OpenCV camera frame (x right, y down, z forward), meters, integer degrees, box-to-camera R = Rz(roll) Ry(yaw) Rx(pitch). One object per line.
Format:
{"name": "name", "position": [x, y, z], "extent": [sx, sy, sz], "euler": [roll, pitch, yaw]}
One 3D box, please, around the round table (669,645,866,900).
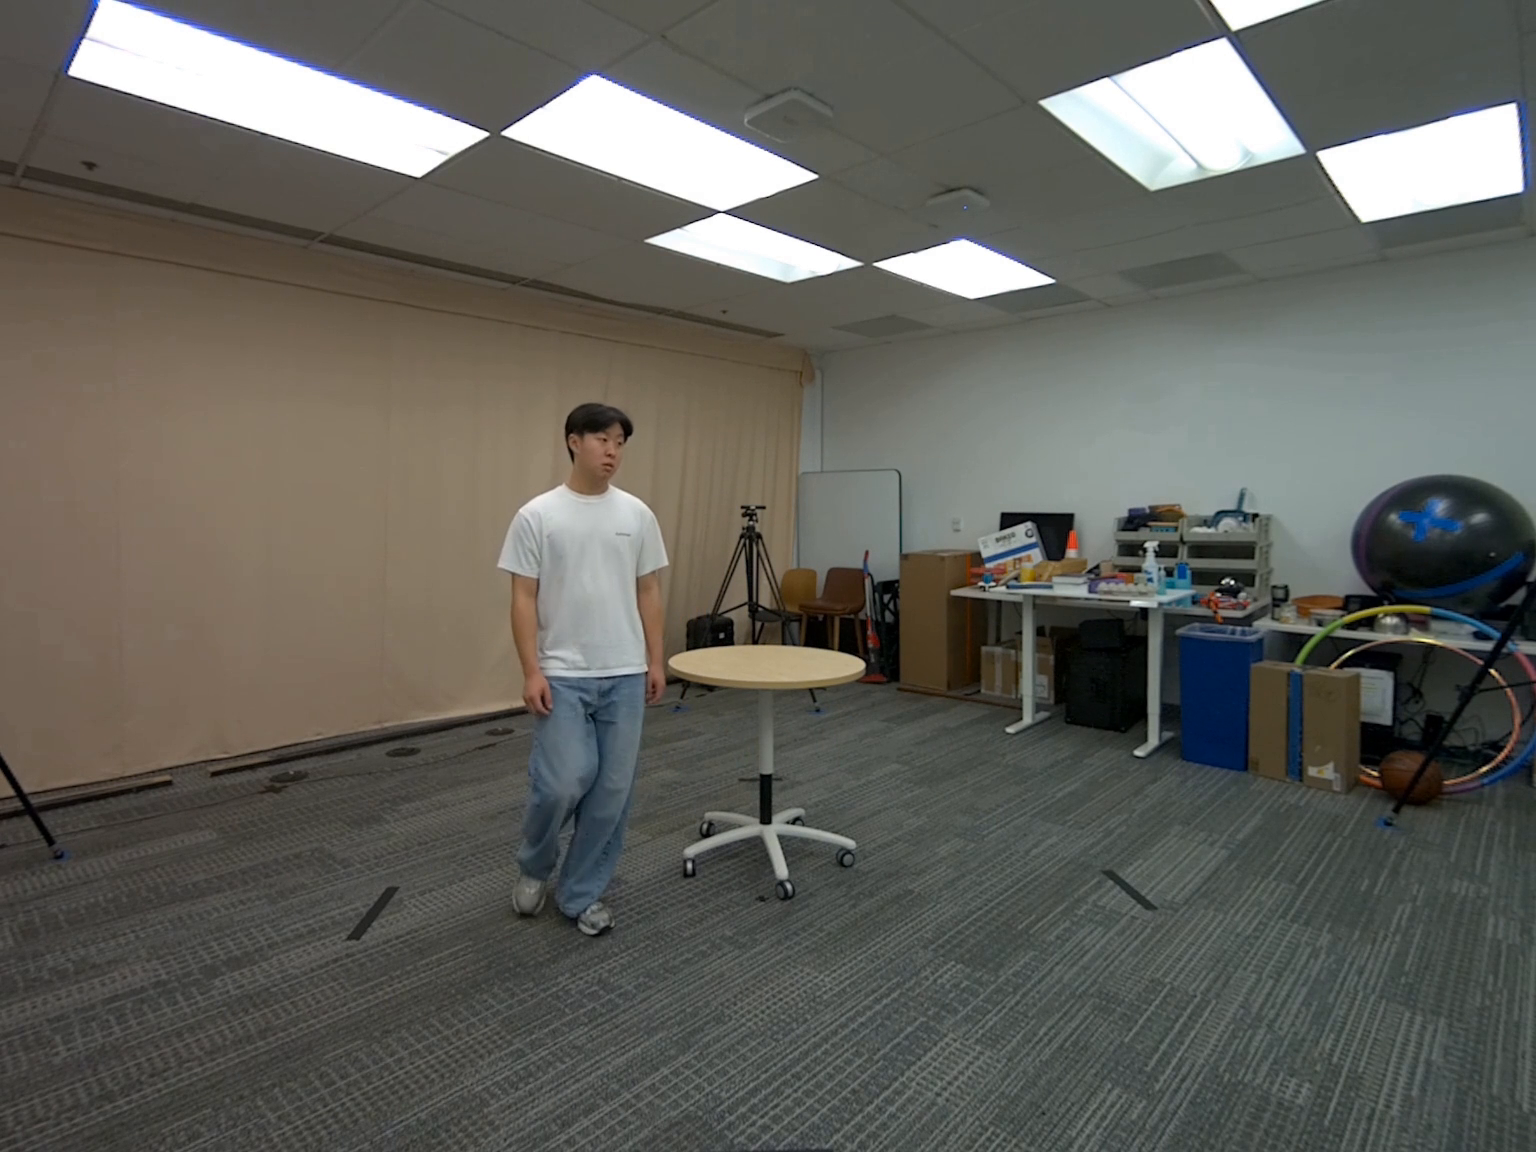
{"name": "round table", "position": [-0.002, 0.728, 3.309], "extent": [0.763, 0.792, 0.766], "euler": [0, 3, -2]}
